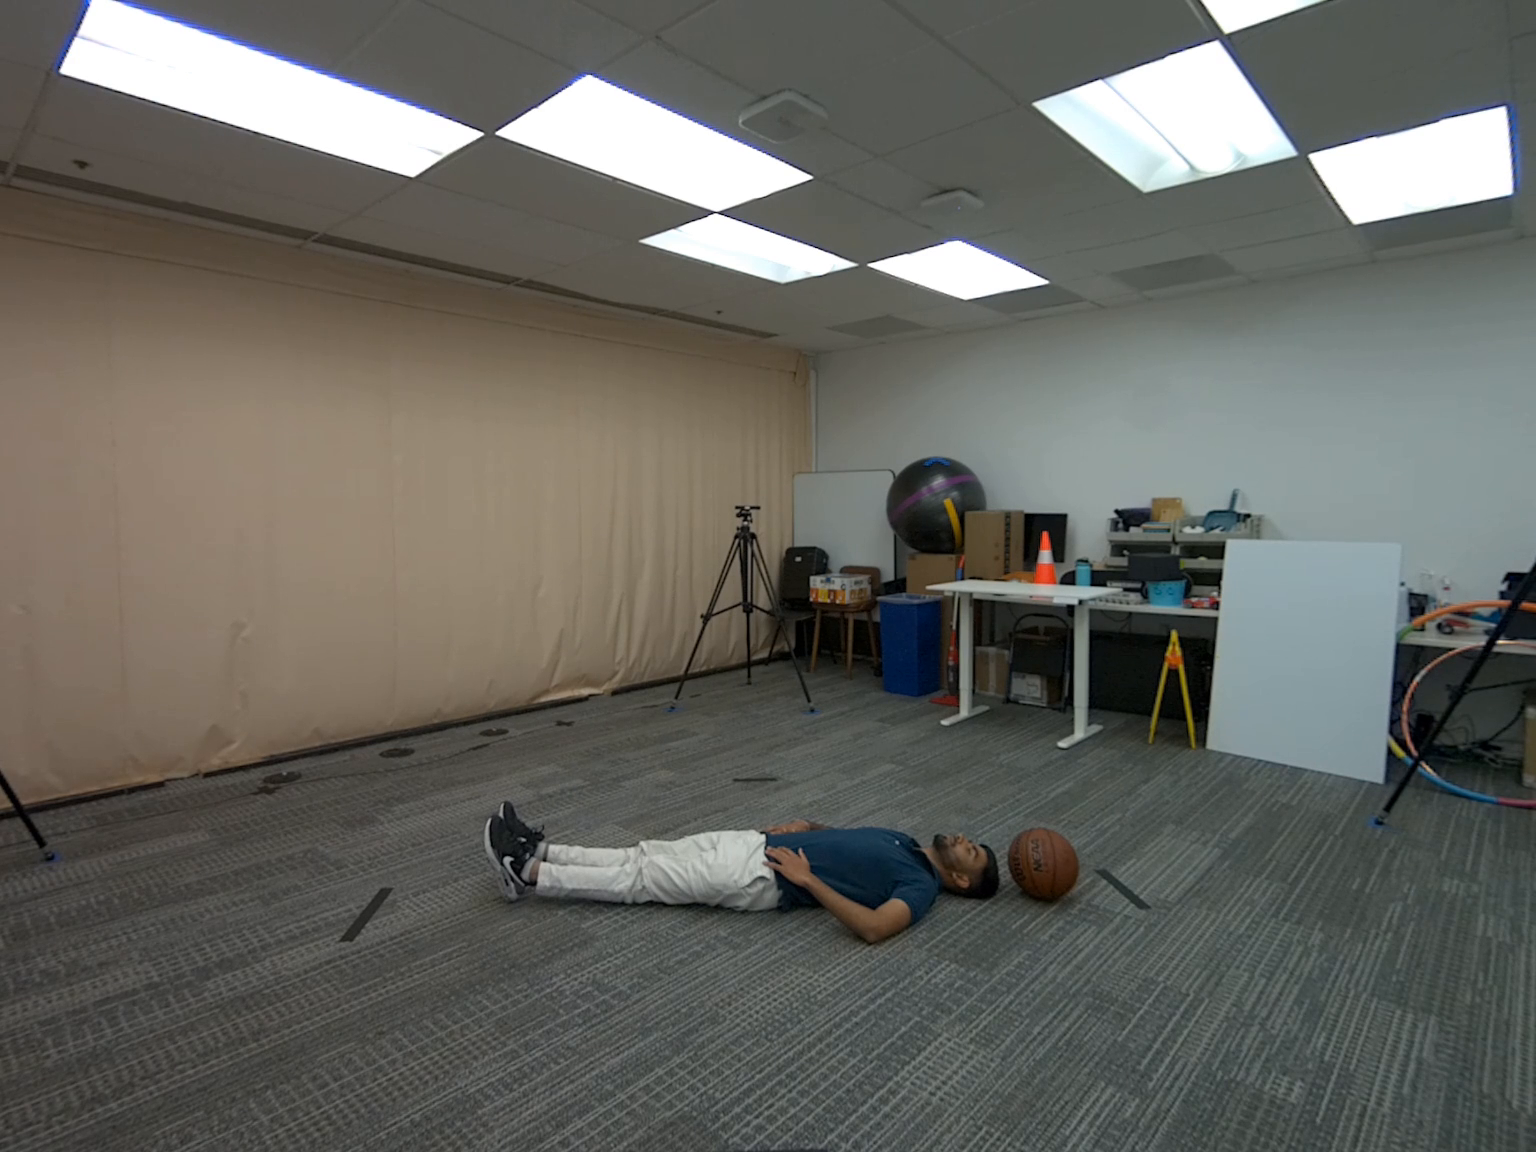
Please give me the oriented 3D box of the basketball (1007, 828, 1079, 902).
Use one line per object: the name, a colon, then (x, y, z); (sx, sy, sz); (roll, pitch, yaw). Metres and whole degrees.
basketball: (0.986, 1.018, 2.999); (0.236, 0.235, 0.237); (0, 4, -2)
